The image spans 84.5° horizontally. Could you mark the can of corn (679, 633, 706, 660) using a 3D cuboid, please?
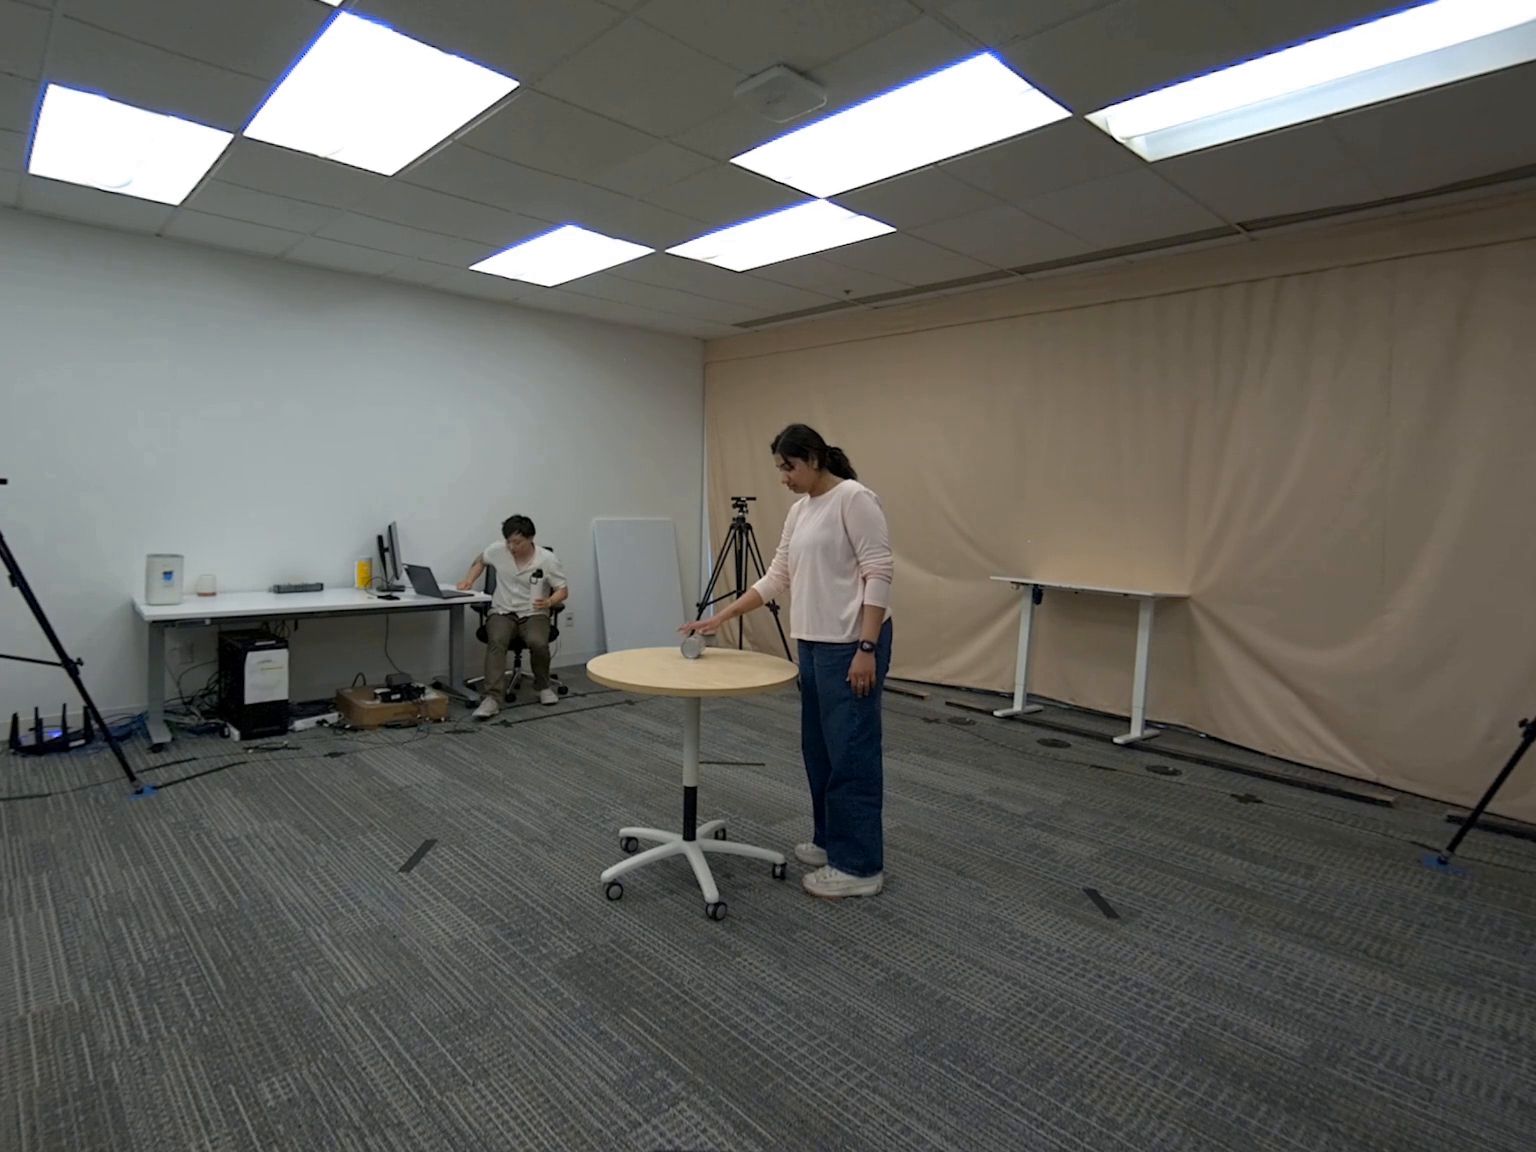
[{"bbox_3d":[-0.285,0.265,3.226,0.074,0.074,0.111,2,5,5],"label":"can of corn"}]
